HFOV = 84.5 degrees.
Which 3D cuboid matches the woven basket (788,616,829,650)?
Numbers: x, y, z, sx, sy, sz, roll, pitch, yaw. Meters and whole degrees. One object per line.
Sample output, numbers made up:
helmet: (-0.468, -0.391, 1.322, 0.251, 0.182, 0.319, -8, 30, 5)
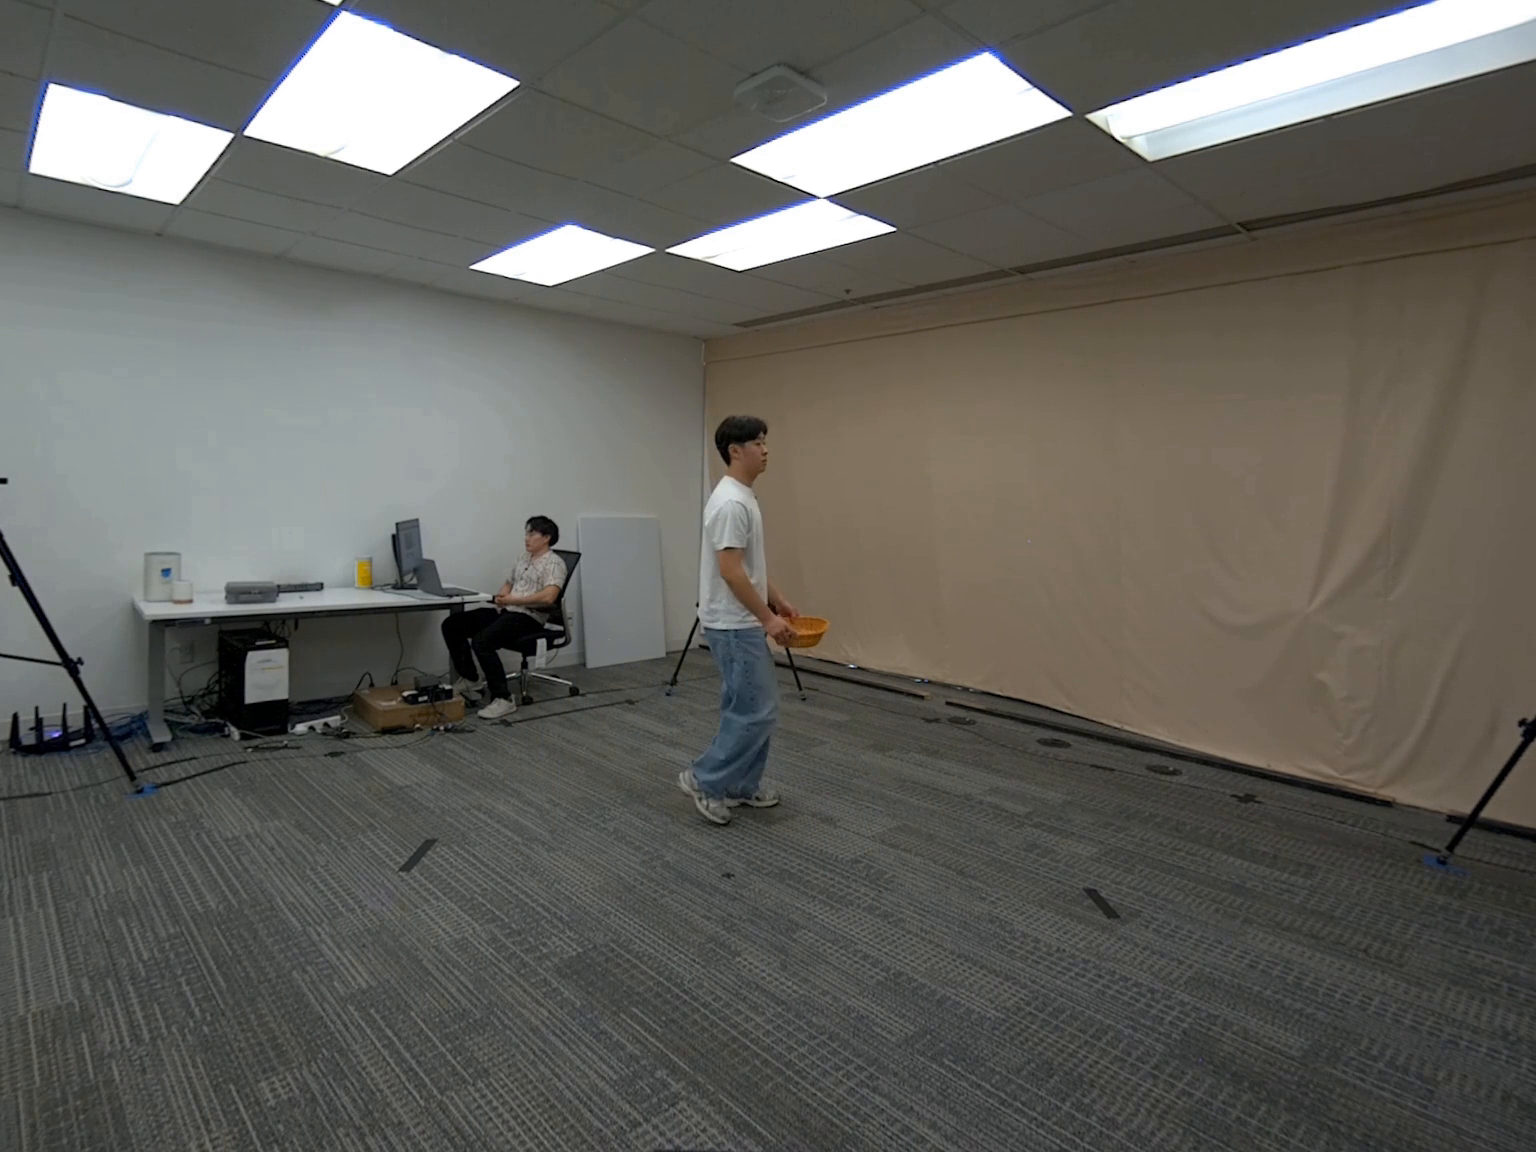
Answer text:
woven basket: (0.101, 0.248, 3.630, 0.256, 0.073, 0.347, 4, 9, 17)
